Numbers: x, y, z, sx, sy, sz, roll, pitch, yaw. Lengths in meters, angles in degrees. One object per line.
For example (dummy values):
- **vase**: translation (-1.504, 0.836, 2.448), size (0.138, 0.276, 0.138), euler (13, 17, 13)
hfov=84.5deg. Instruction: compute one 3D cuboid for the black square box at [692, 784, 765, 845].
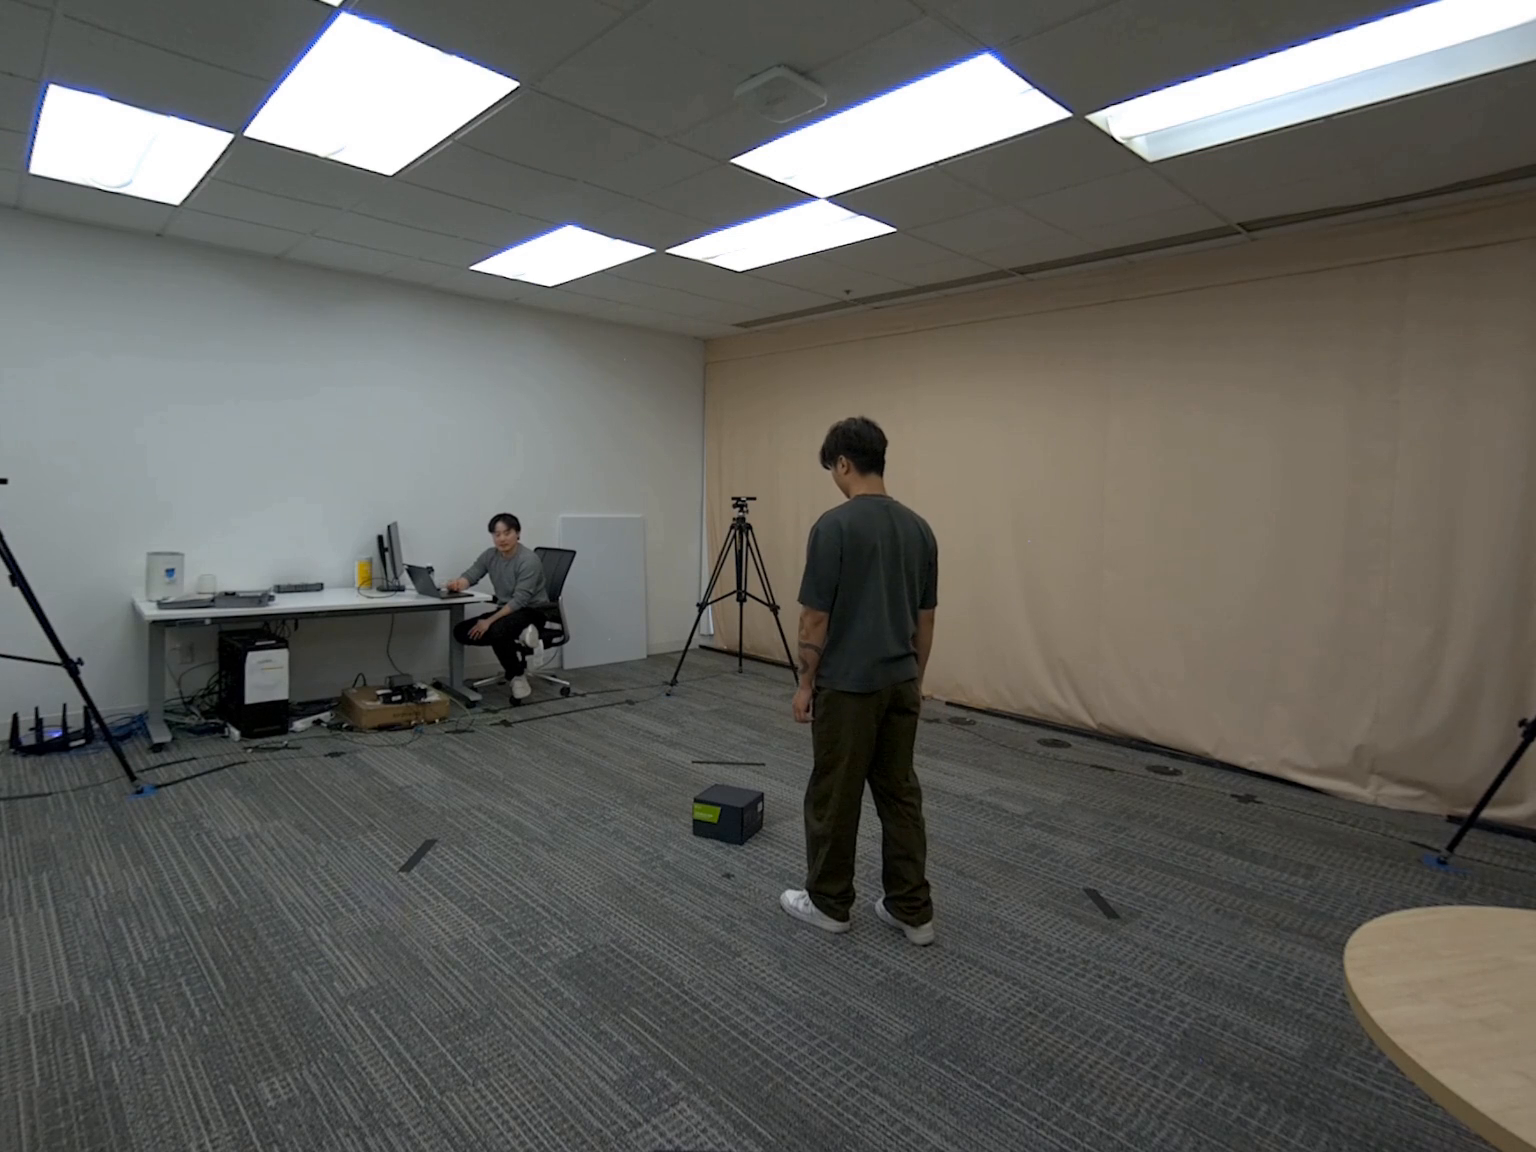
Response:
- **black square box**: translation (-0.174, 0.985, 3.517), size (0.232, 0.155, 0.213), euler (3, 5, 25)
